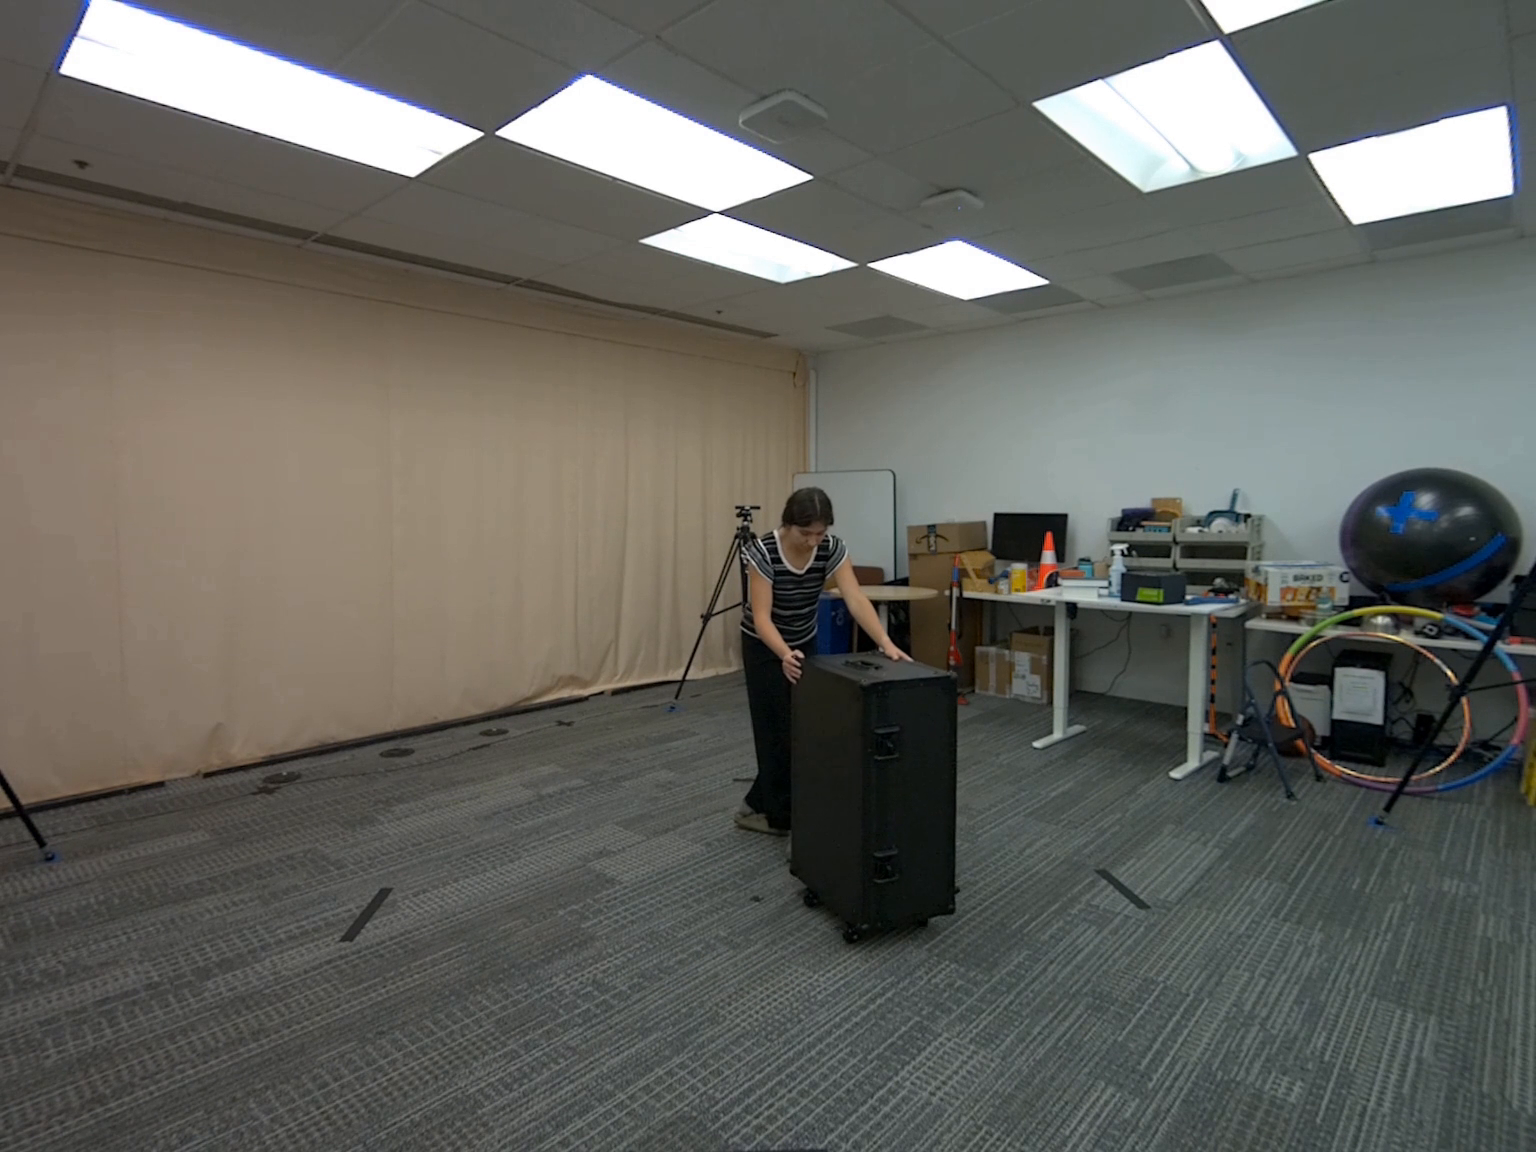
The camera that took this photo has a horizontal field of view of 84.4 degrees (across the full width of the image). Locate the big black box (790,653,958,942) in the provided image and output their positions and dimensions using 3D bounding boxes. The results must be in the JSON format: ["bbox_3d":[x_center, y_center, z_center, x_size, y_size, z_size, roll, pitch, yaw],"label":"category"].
[{"bbox_3d":[0.357,0.731,2.873,0.387,0.860,0.534,0,3,-24],"label":"big black box"}]
